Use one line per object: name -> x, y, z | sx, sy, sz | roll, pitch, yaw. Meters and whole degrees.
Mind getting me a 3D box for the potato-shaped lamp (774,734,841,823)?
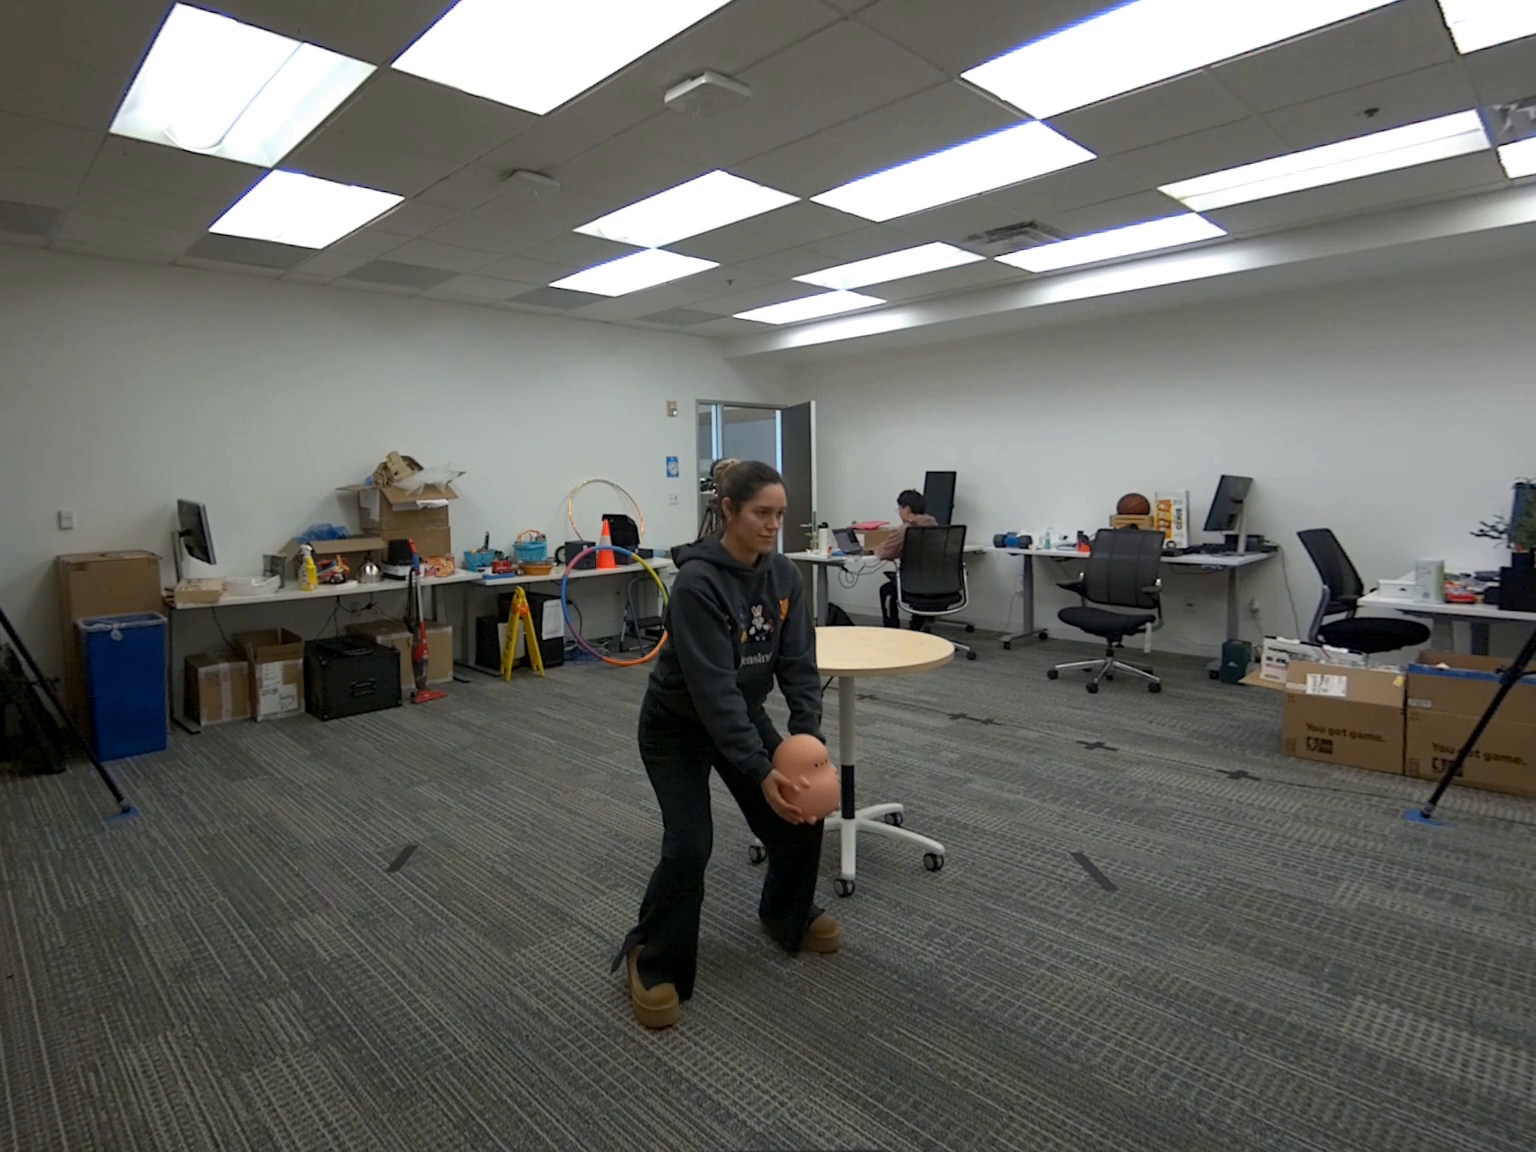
potato-shaped lamp -> 0.102, 0.507, 2.130 | 0.176, 0.197, 0.160 | -1, 5, 43
